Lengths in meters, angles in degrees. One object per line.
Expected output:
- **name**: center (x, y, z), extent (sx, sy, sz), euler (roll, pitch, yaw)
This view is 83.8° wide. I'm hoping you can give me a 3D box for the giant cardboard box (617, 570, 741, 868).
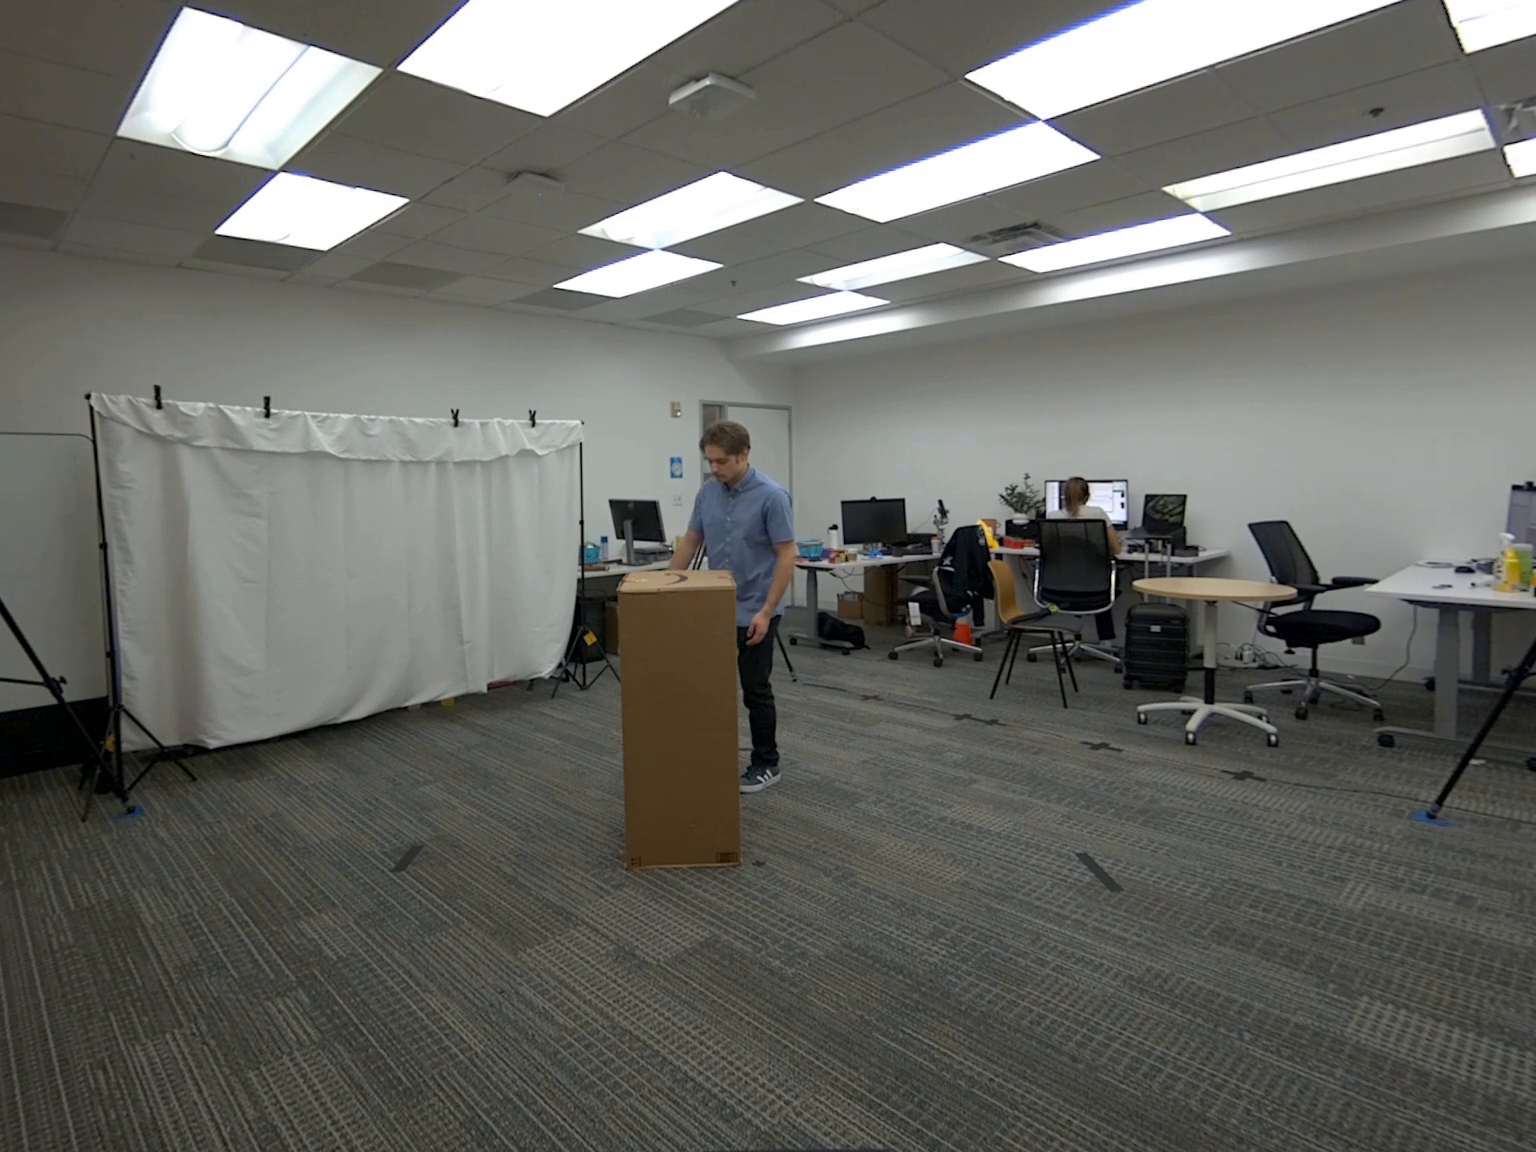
- **giant cardboard box**: center (-0.348, 0.519, 3.338), extent (0.425, 1.022, 0.581), euler (-1, 4, -3)
